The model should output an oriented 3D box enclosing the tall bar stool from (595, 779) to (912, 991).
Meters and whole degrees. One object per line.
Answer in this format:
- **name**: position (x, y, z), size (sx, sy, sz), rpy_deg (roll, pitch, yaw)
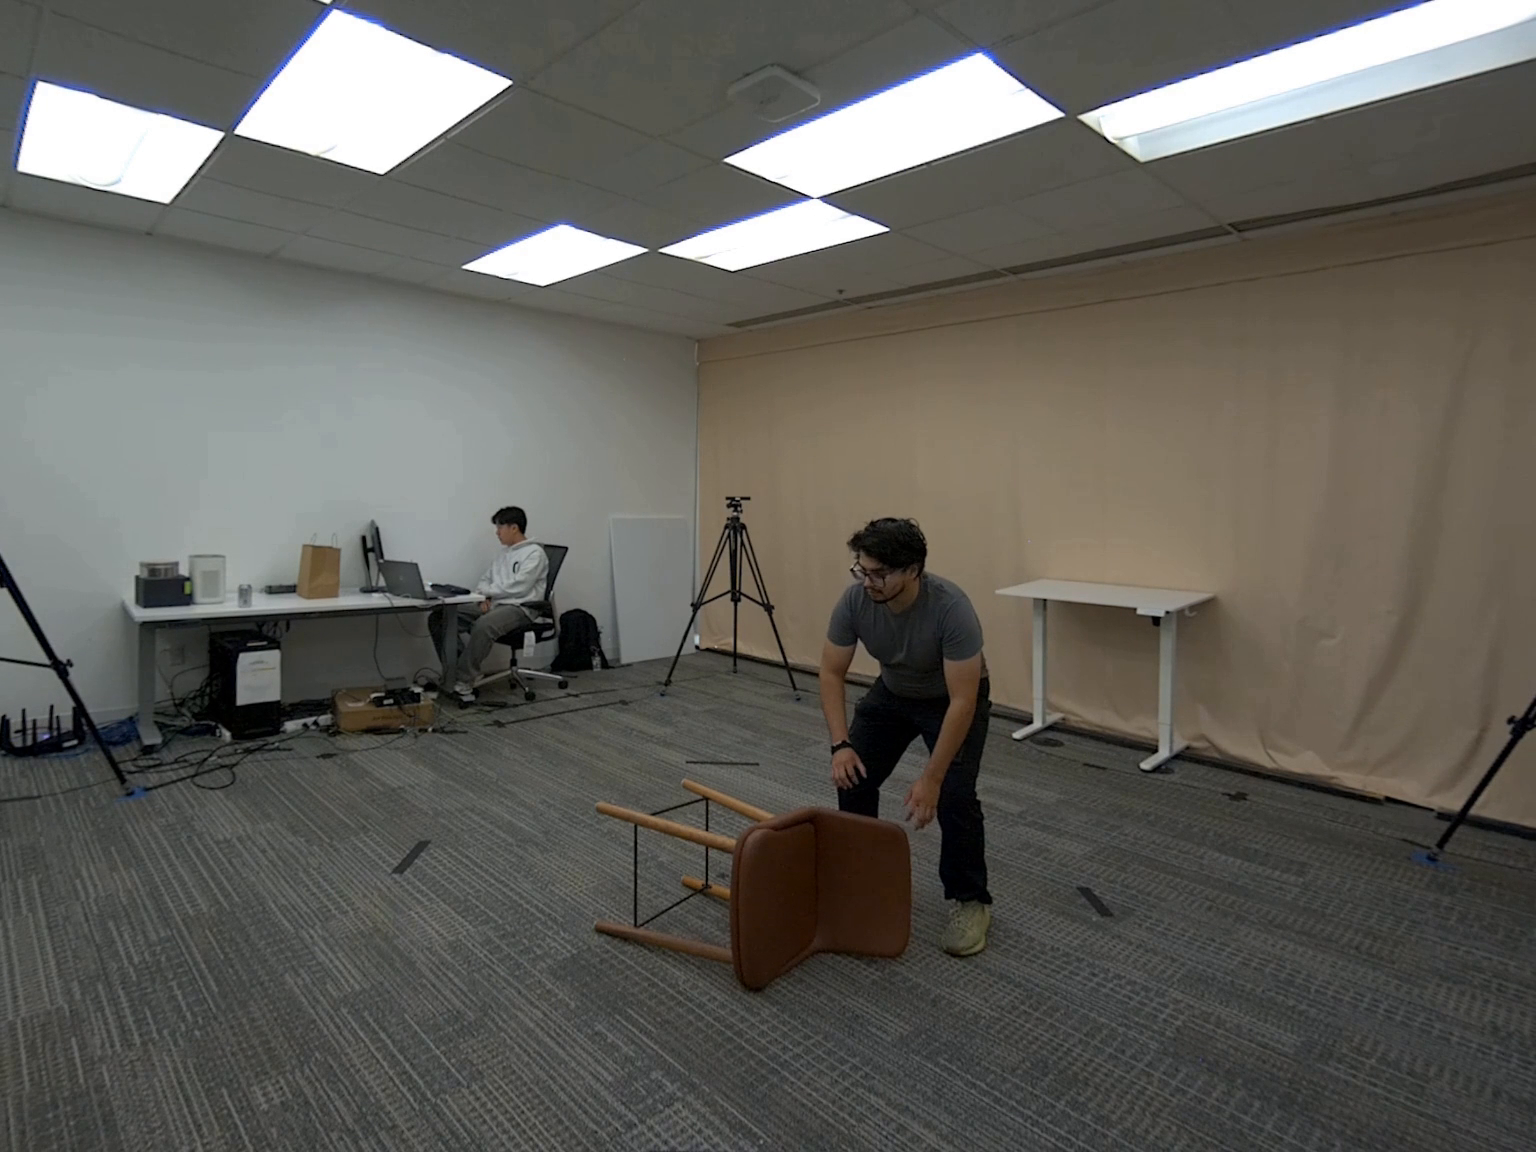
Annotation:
- **tall bar stool**: position (-0.075, 0.942, 2.603), size (0.910, 0.456, 0.457), rpy_deg (2, 2, 35)
